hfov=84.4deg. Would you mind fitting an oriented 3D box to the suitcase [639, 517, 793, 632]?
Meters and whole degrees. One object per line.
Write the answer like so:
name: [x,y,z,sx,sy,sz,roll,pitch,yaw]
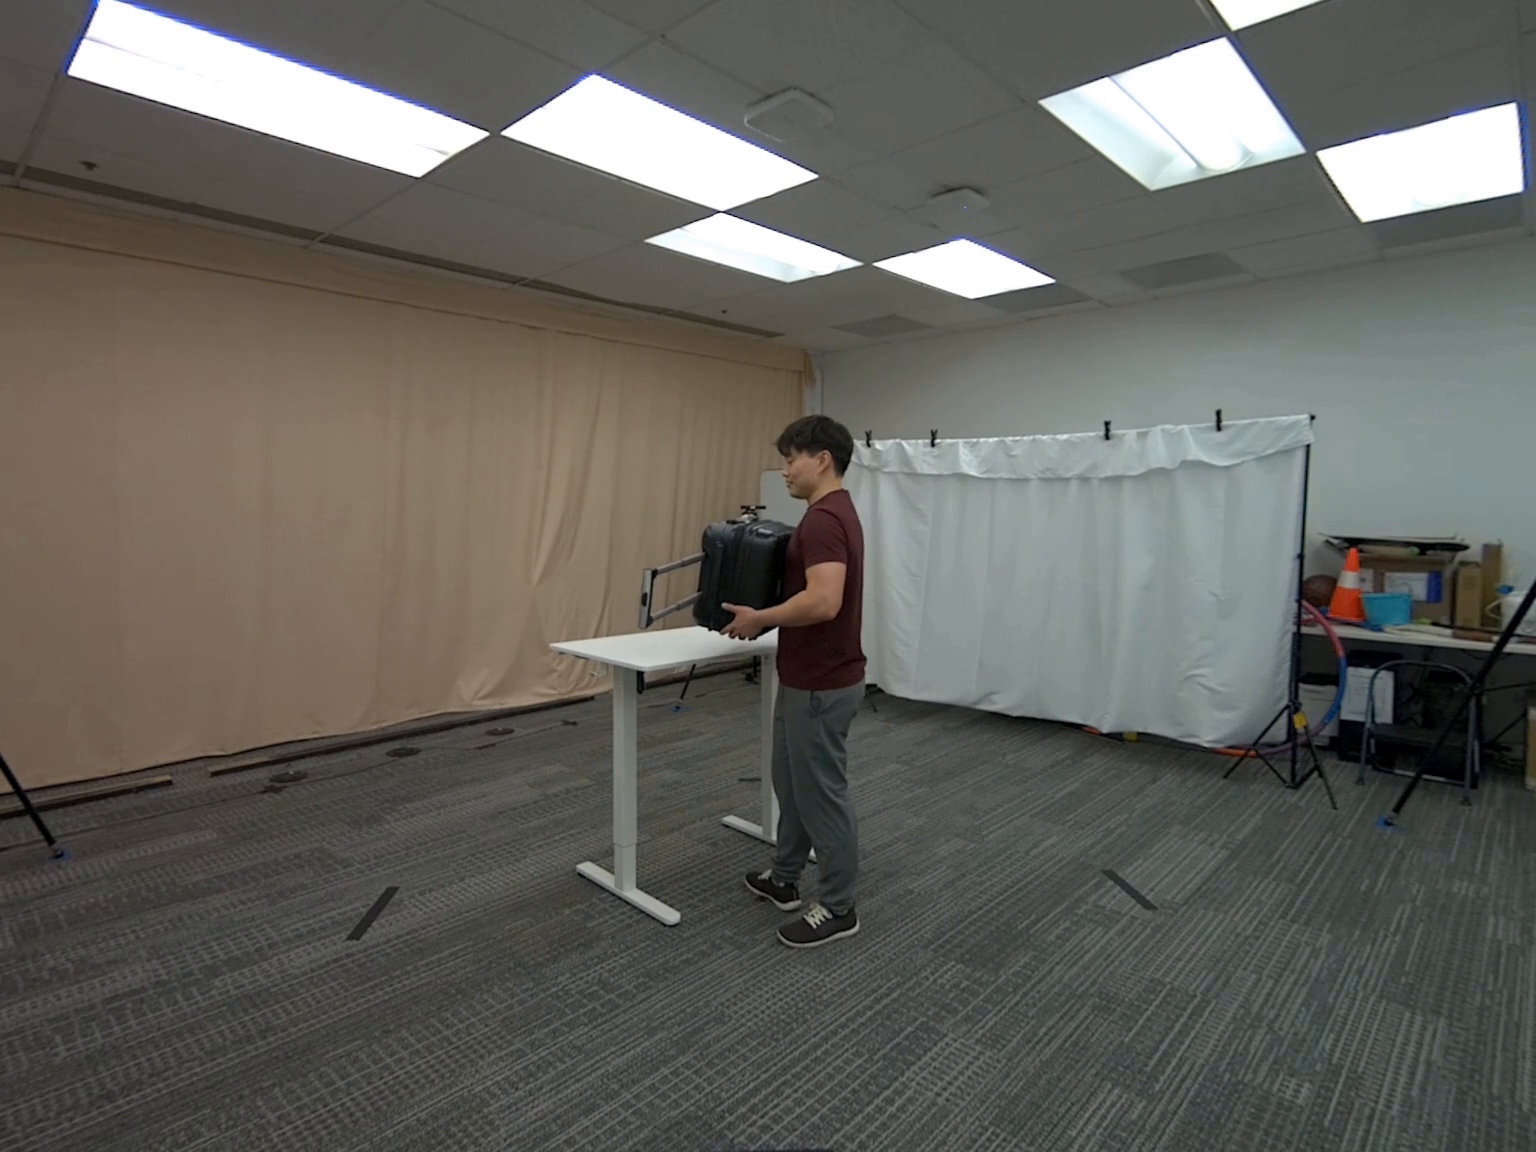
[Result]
suitcase: [-0.106,0.016,2.659,0.261,0.382,0.965,9,8,13]
